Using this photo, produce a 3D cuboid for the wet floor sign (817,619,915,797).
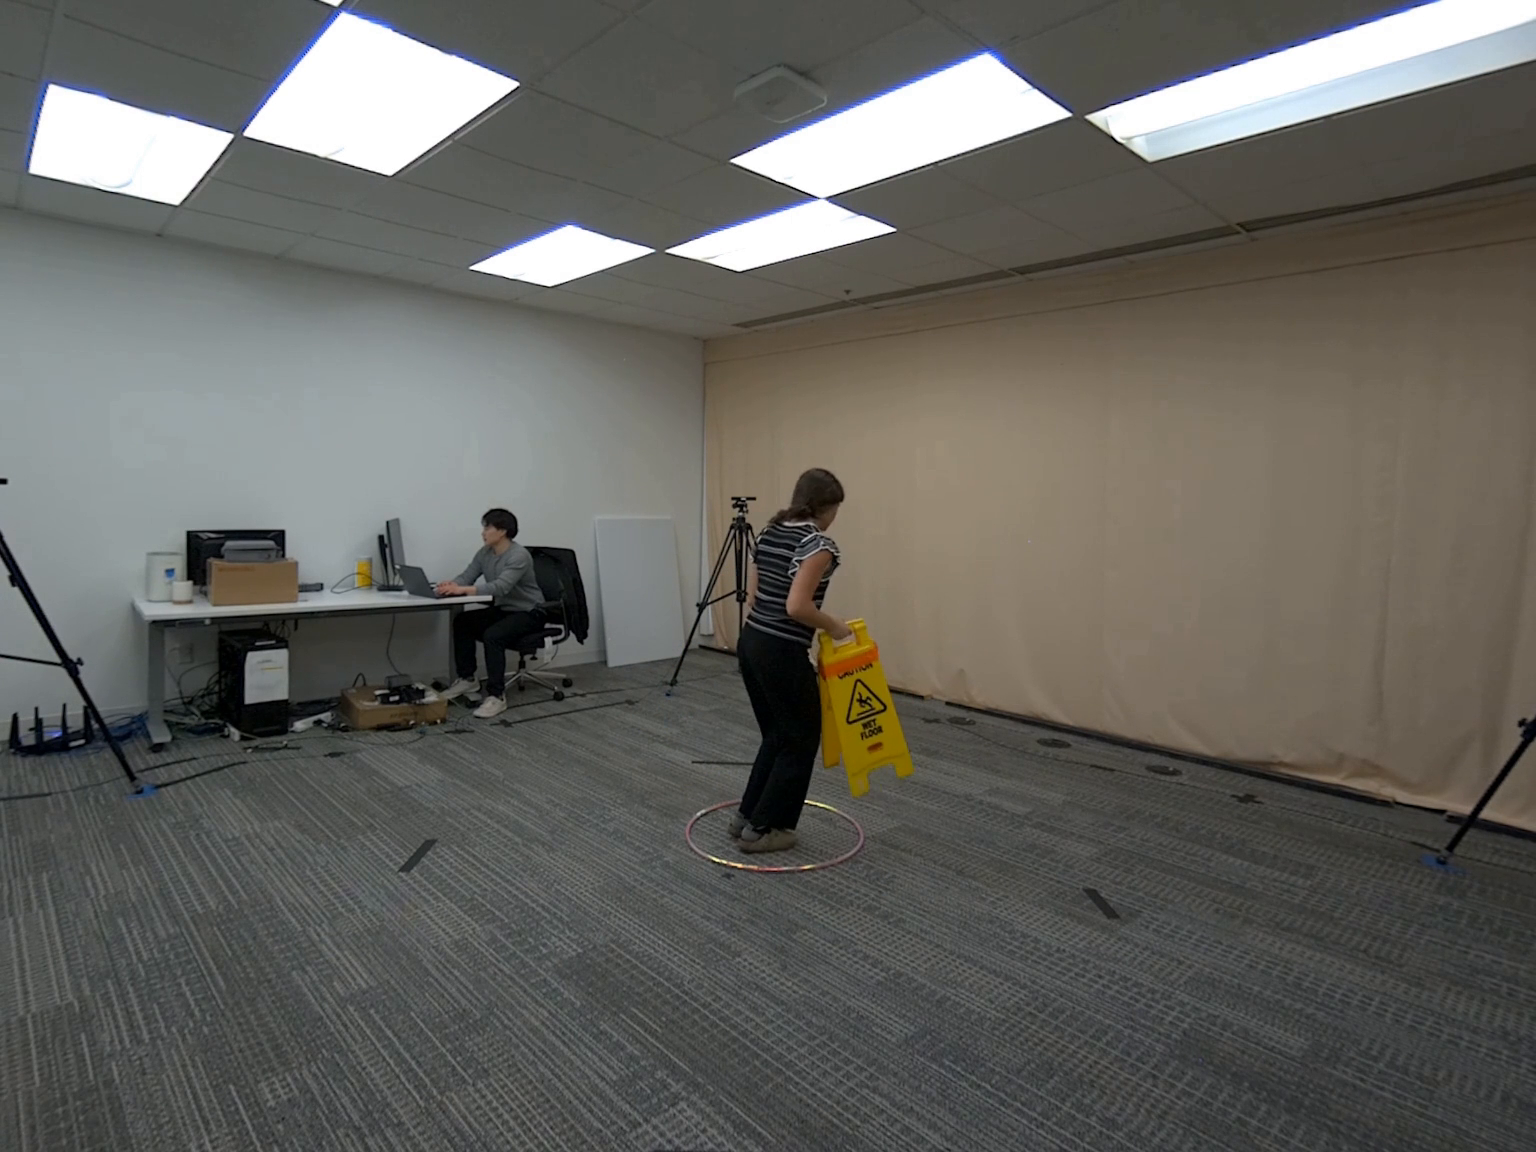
[{"bbox_3d":[0.338,0.493,3.346,0.279,0.637,0.296,-17,17,-17],"label":"wet floor sign"}]
